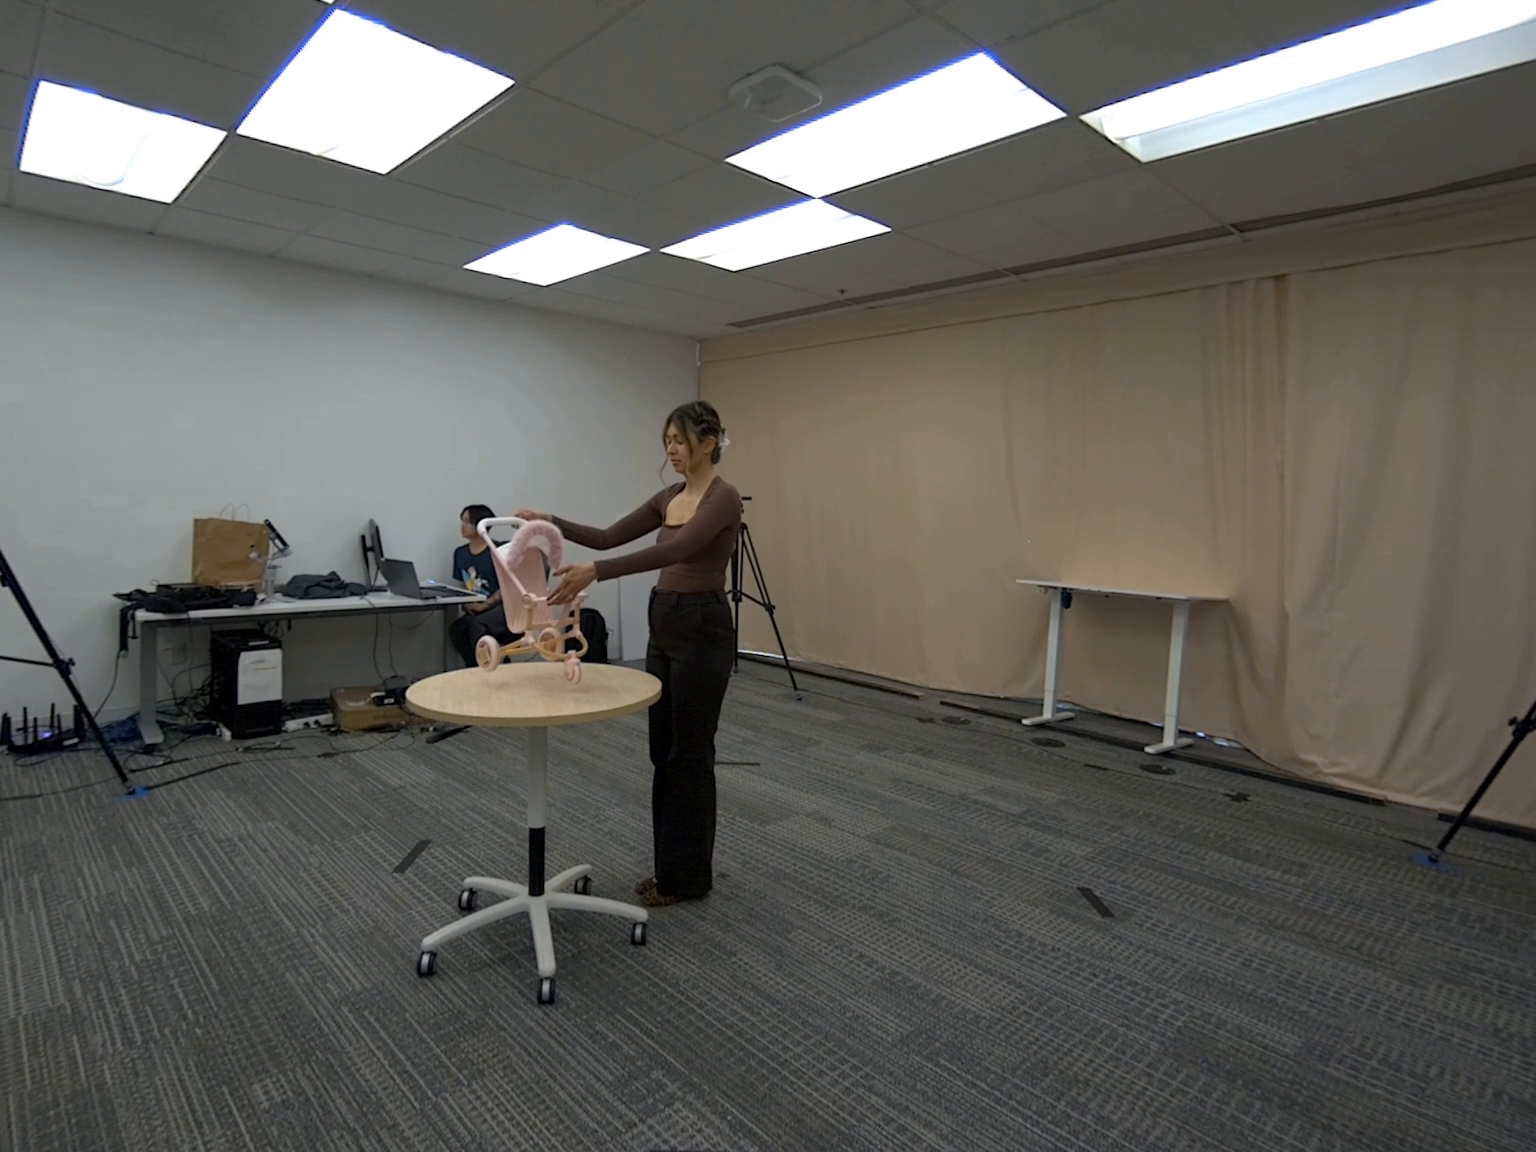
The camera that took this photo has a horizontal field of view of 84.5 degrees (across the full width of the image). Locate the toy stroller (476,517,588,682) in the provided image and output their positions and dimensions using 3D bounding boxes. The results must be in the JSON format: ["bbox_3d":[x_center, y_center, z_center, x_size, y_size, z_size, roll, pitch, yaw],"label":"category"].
[{"bbox_3d":[-0.718,0.070,2.603,0.348,0.536,0.275,-7,-3,42],"label":"toy stroller"}]
